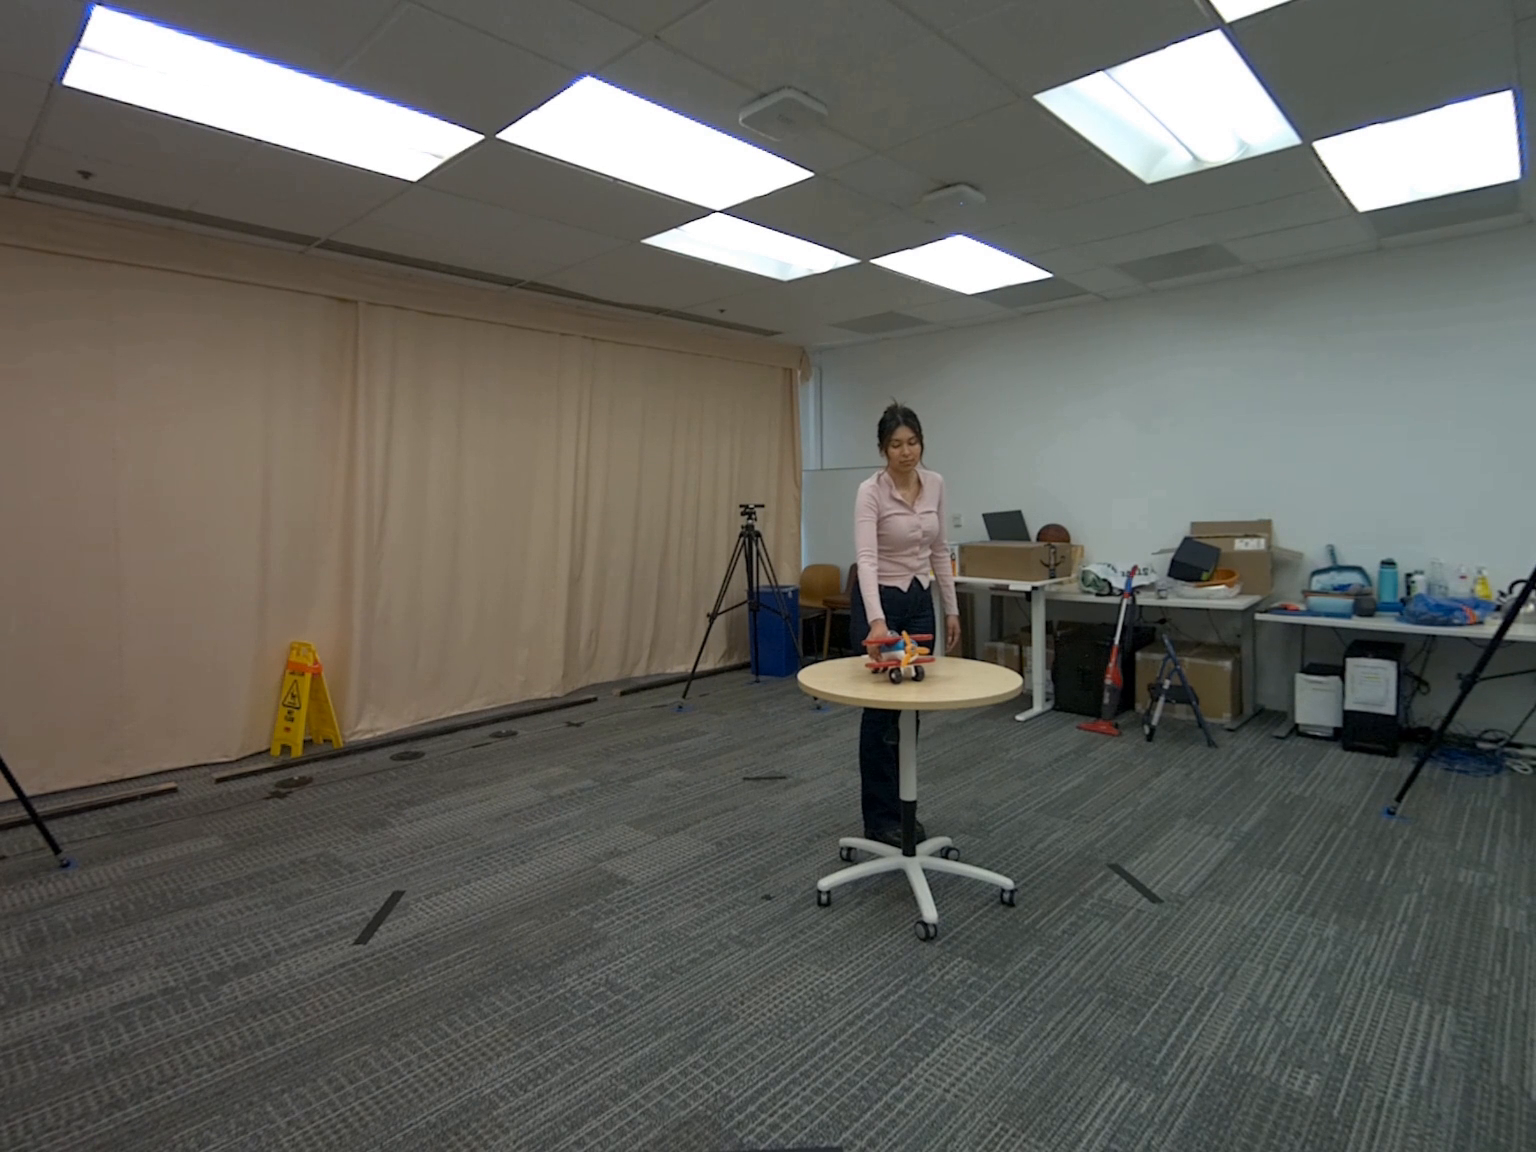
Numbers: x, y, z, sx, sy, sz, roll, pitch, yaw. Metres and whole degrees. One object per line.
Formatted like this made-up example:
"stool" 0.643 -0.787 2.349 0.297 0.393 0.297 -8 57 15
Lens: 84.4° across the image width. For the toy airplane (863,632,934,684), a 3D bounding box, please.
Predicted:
"toy airplane" 0.421 0.274 2.919 0.268 0.156 0.243 4 7 45
